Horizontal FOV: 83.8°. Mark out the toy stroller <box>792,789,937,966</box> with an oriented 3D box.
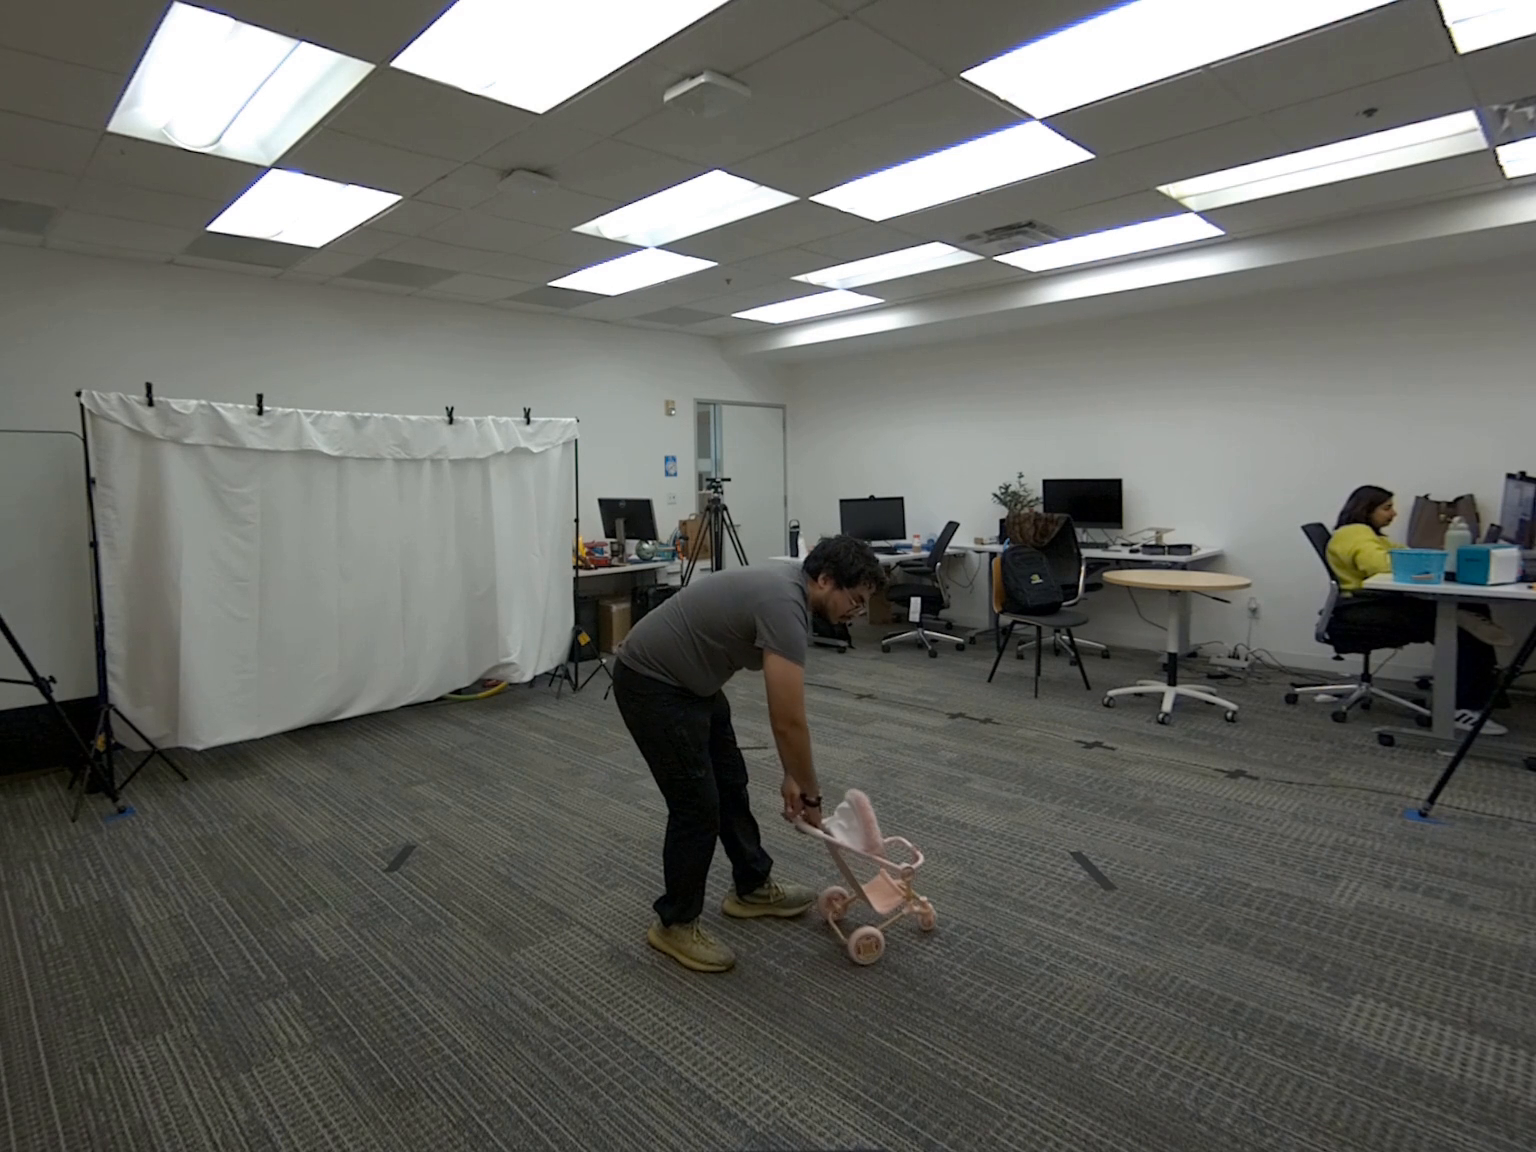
[{"bbox_3d":[0.309,0.876,2.566,0.340,0.530,0.285,-19,8,-8],"label":"toy stroller"}]
